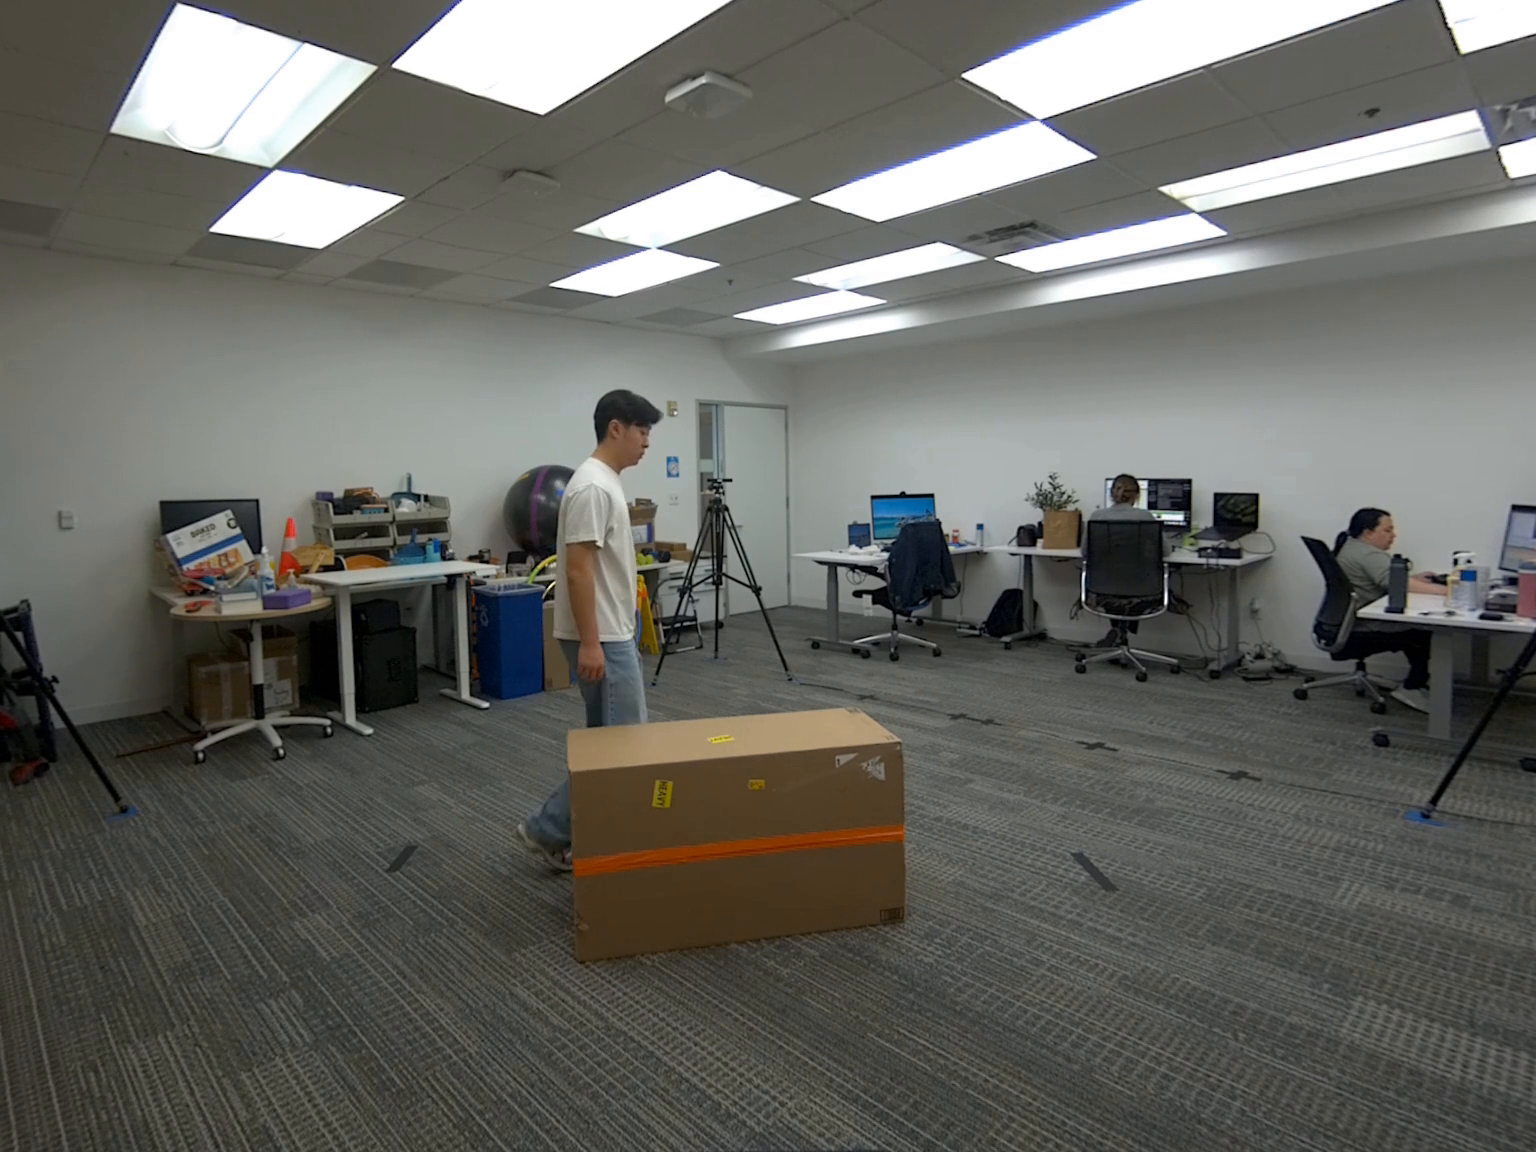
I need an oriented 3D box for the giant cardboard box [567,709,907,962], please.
[{"bbox_3d":[-0.115,0.795,2.761,1.015,0.575,0.432,-3,4,-11],"label":"giant cardboard box"}]
